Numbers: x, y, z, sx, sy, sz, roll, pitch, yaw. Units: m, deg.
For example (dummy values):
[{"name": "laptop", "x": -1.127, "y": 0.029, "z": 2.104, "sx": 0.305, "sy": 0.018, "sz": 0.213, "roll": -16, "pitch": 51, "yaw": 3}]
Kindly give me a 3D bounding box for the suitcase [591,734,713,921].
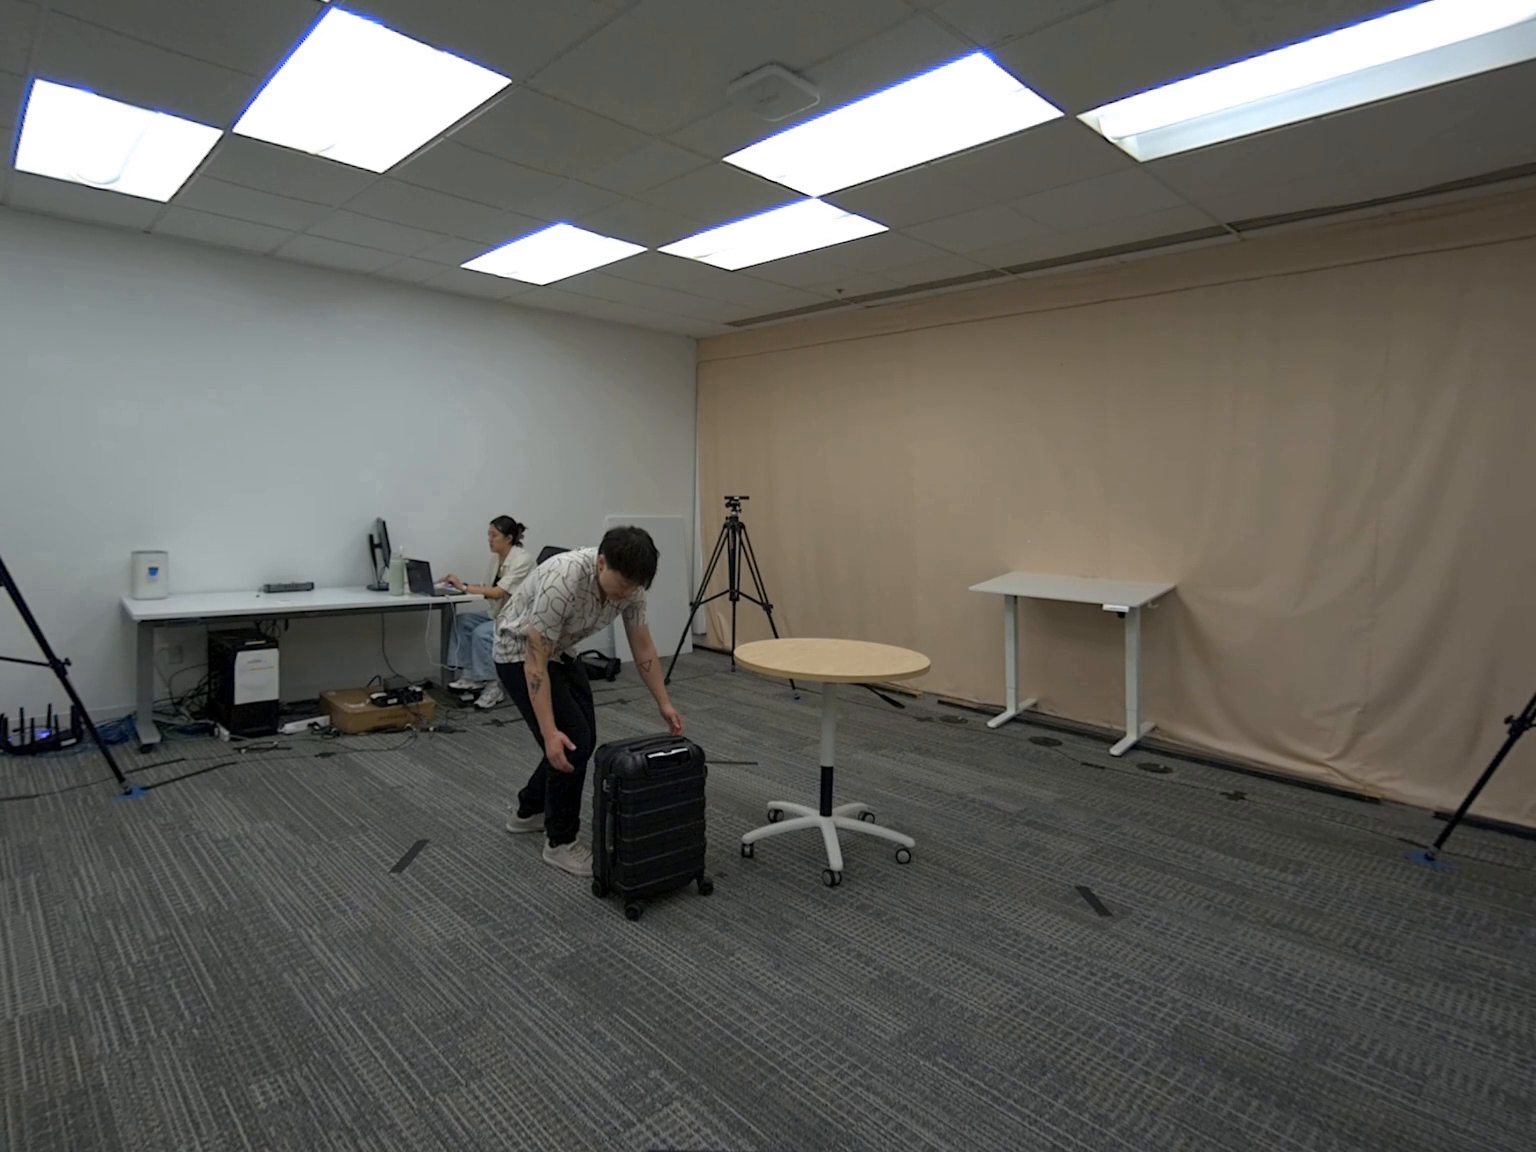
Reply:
[{"name": "suitcase", "x": -0.421, "y": 0.837, "z": 2.927, "sx": 0.367, "sy": 0.548, "sz": 0.254, "roll": -3, "pitch": 3, "yaw": -39}]
